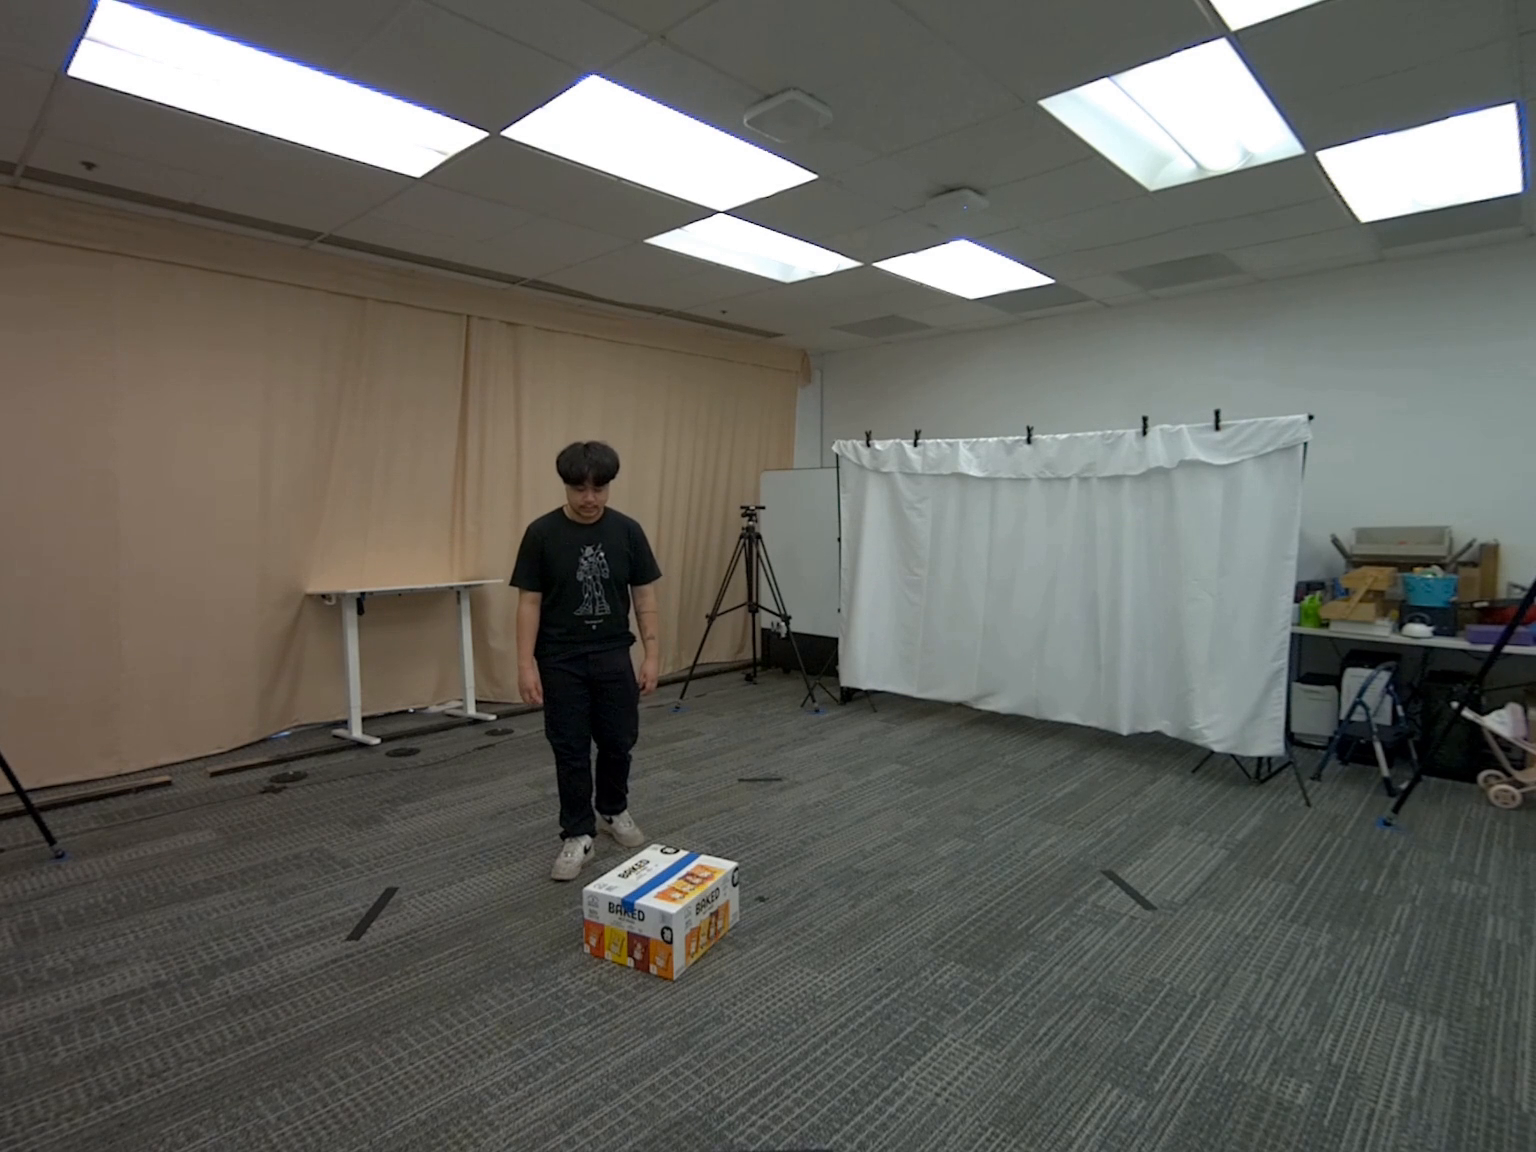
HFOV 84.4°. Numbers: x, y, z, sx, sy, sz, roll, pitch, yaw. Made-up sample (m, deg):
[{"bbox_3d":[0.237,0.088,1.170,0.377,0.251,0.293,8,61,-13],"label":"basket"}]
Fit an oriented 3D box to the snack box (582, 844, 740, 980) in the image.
[{"bbox_3d":[-0.335,1.065,2.714,0.350,0.205,0.395,2,5,28],"label":"snack box"}]
